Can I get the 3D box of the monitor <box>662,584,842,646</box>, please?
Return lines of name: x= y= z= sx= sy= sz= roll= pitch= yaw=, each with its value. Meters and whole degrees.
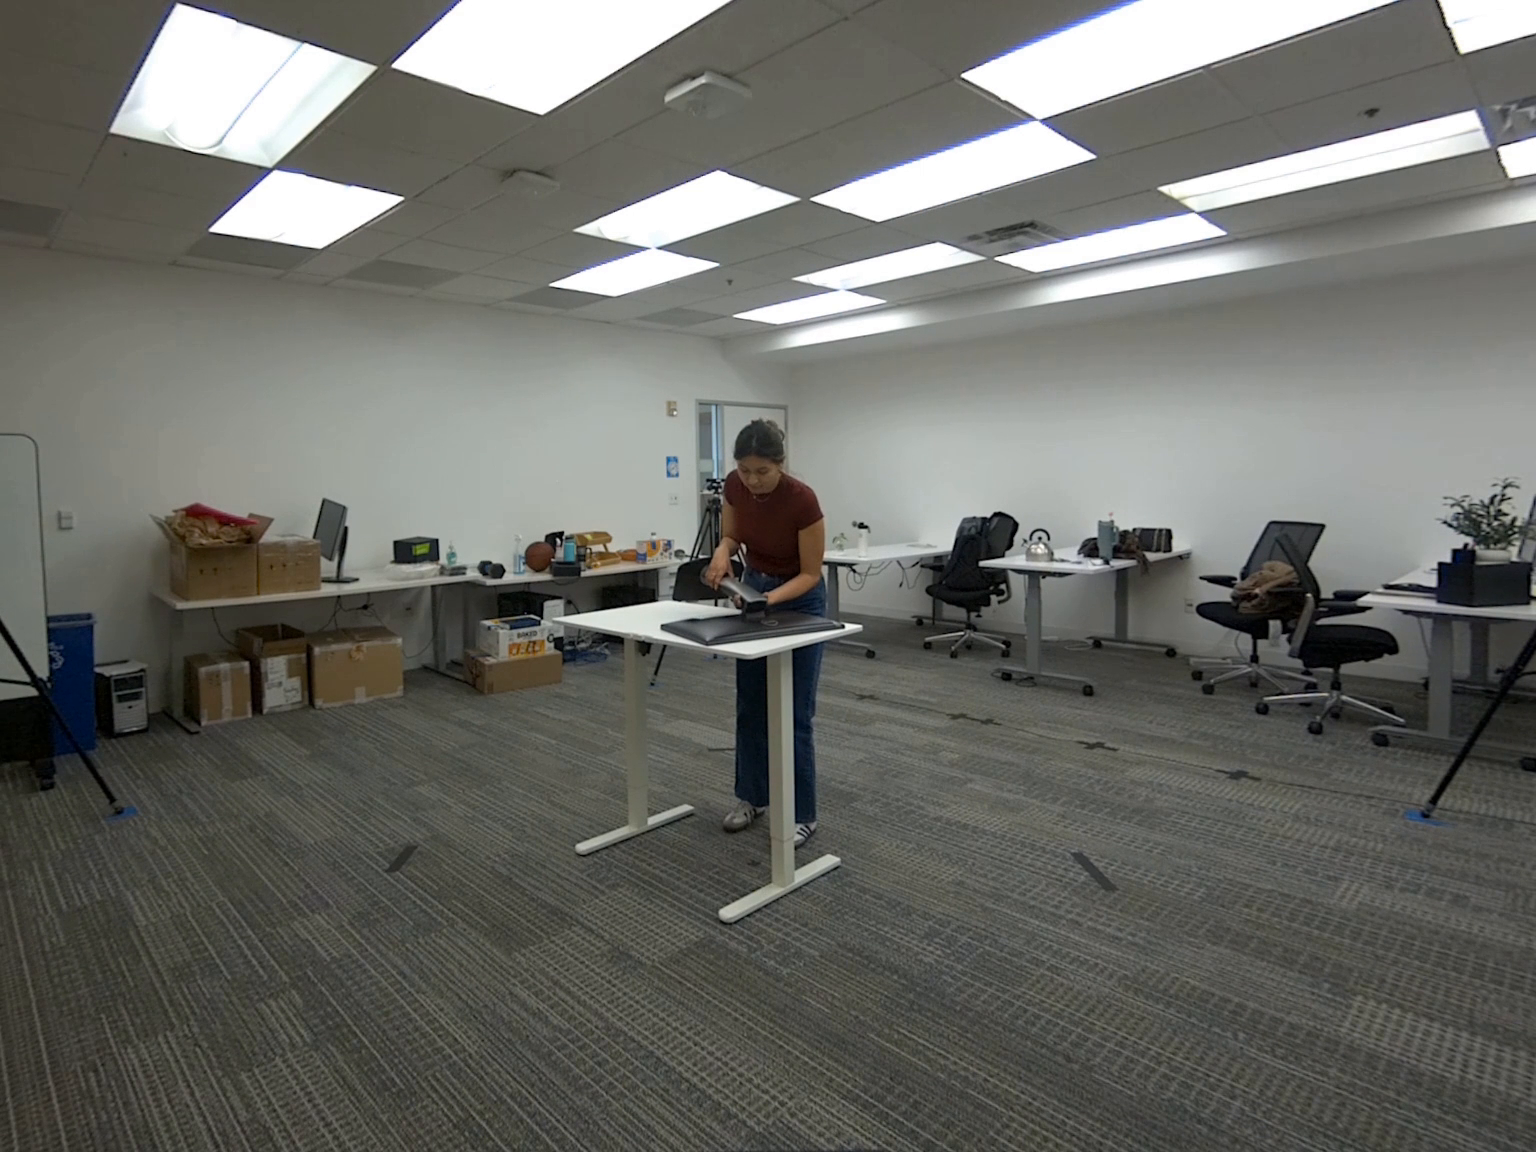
monitor: x=-0.093 y=0.107 z=3.002 sx=0.527 sy=0.184 sz=0.542 roll=-5 pitch=23 yaw=-29
